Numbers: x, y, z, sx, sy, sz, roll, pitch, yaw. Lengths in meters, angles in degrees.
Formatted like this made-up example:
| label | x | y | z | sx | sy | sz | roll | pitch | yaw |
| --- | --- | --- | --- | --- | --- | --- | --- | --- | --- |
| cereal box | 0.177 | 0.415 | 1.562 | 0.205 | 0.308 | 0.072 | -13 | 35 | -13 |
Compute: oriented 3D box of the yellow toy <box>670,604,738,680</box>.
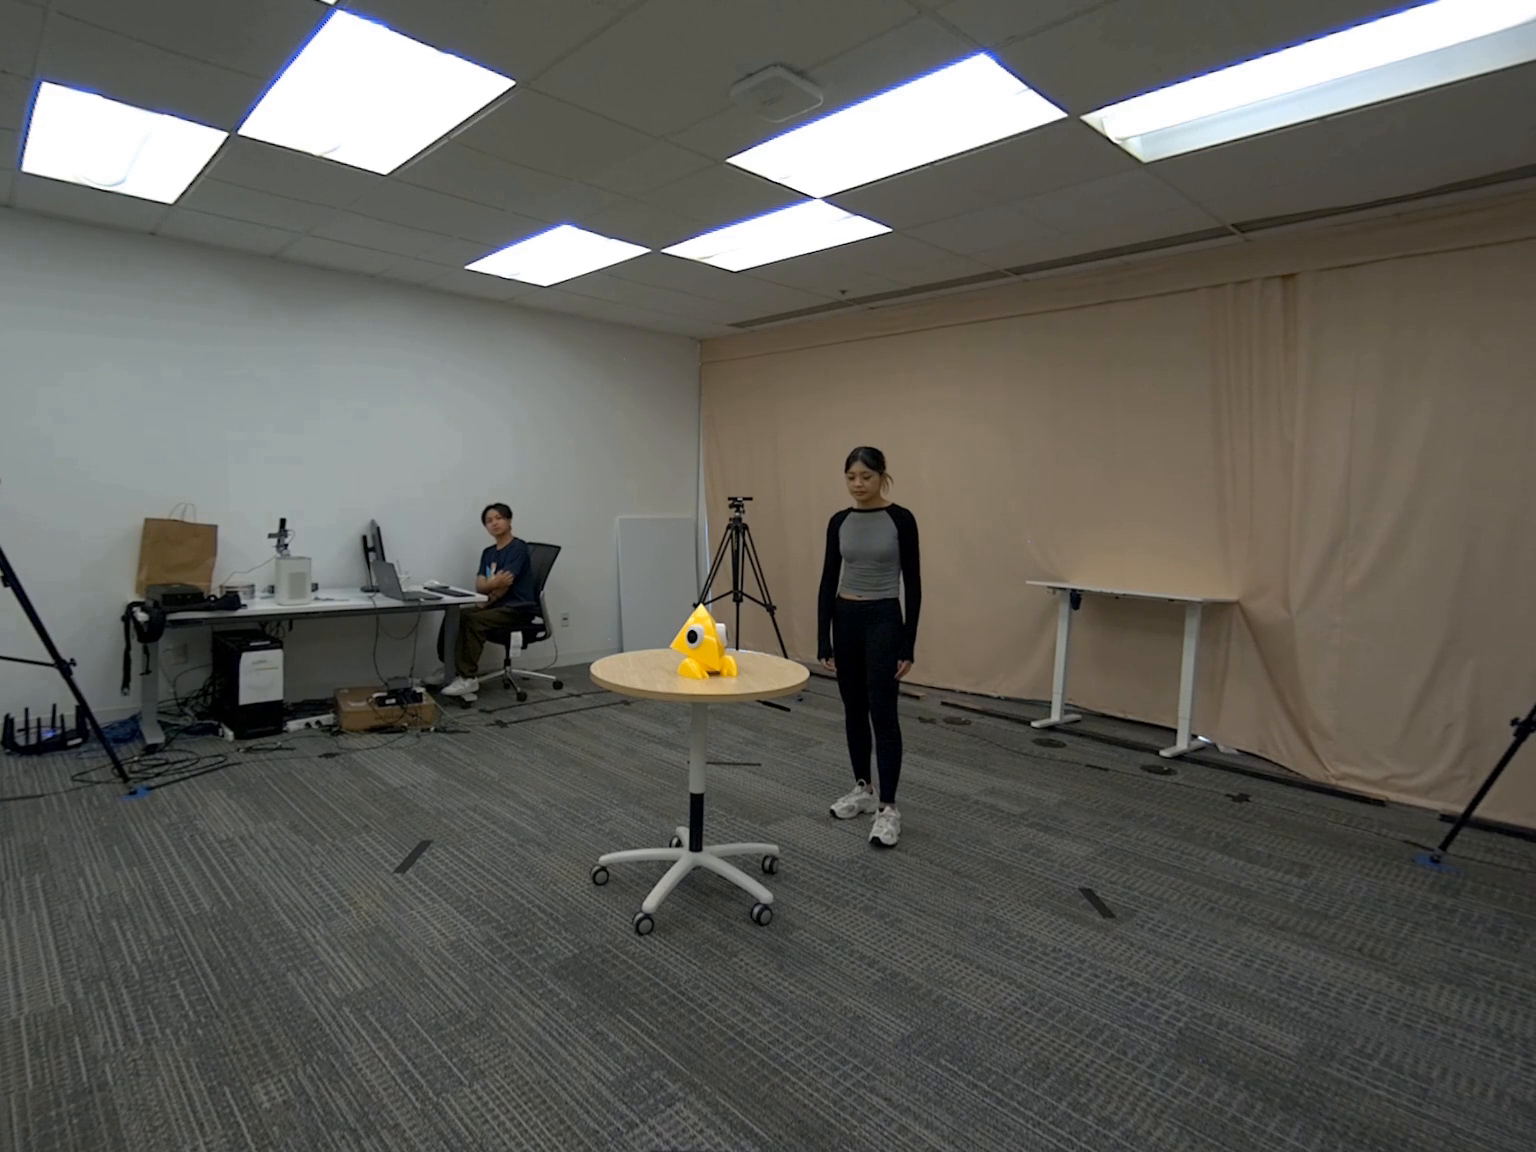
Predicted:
| label | x | y | z | sx | sy | sz | roll | pitch | yaw |
| --- | --- | --- | --- | --- | --- | --- | --- | --- | --- |
| yellow toy | -0.213 | 0.221 | 2.880 | 0.201 | 0.230 | 0.197 | 0 | 6 | -28 |
